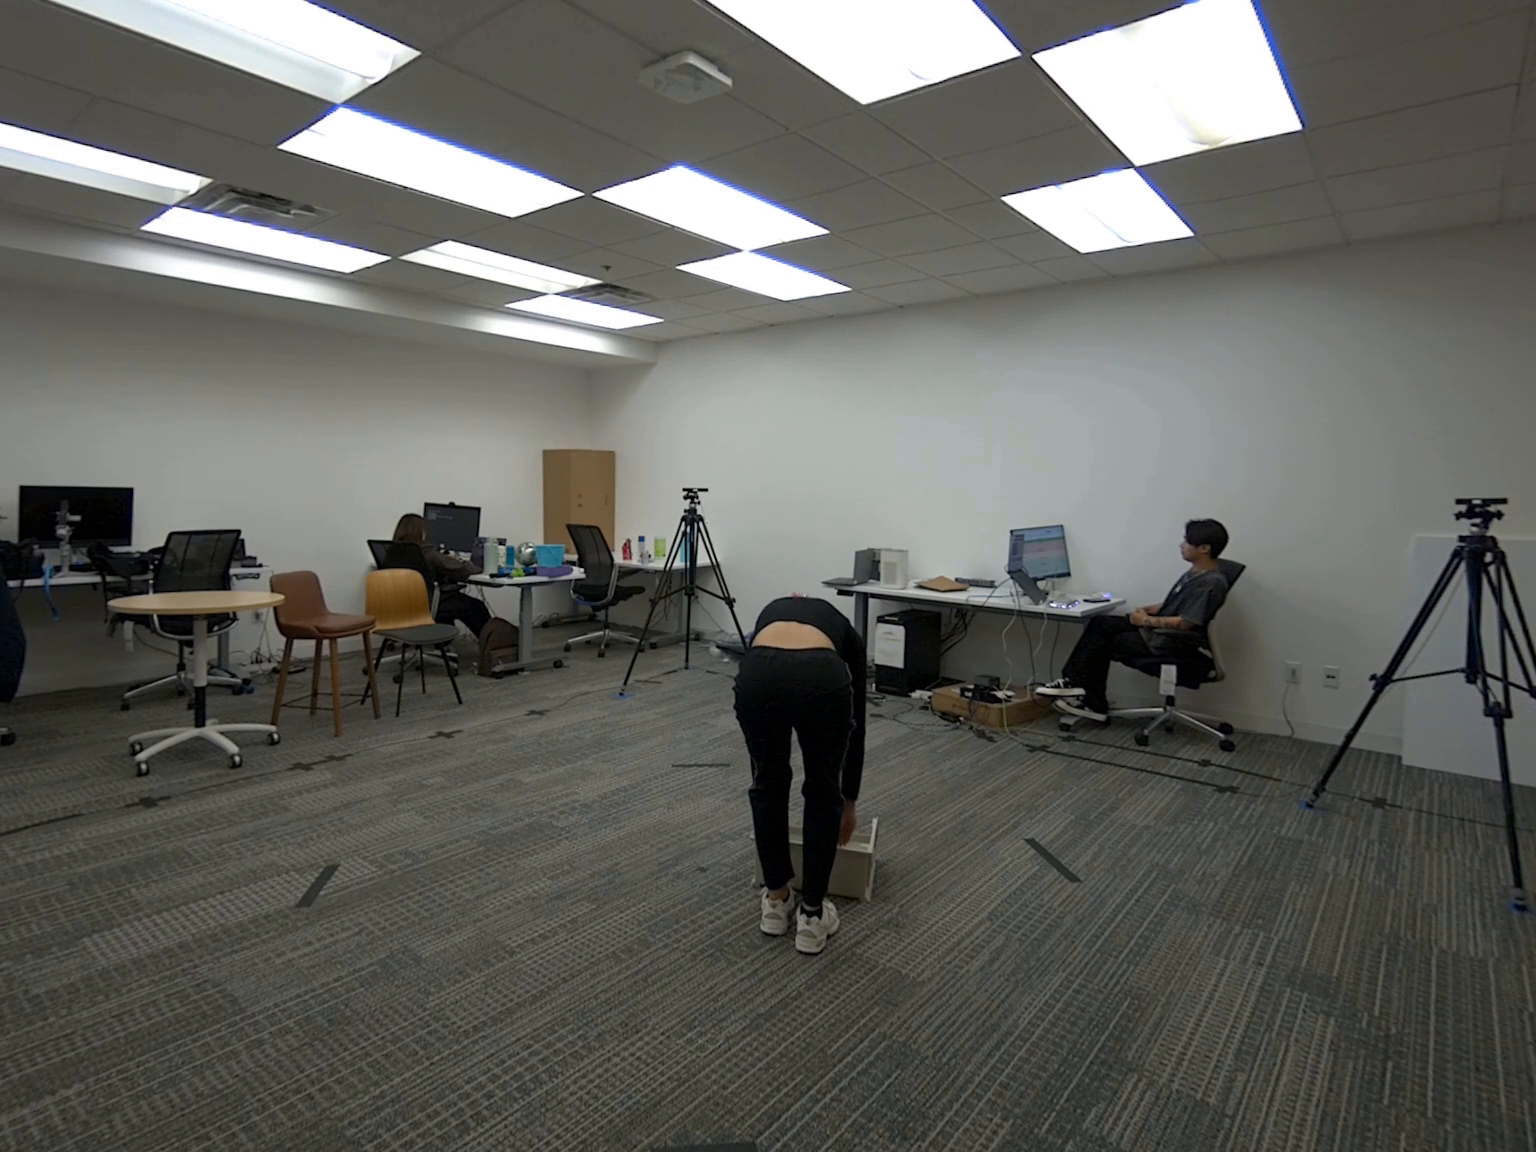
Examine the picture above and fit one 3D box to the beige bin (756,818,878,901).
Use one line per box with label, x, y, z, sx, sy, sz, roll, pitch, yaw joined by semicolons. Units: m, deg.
beige bin;0.170;0.989;3.100;0.429;0.188;0.374;3;6;12
